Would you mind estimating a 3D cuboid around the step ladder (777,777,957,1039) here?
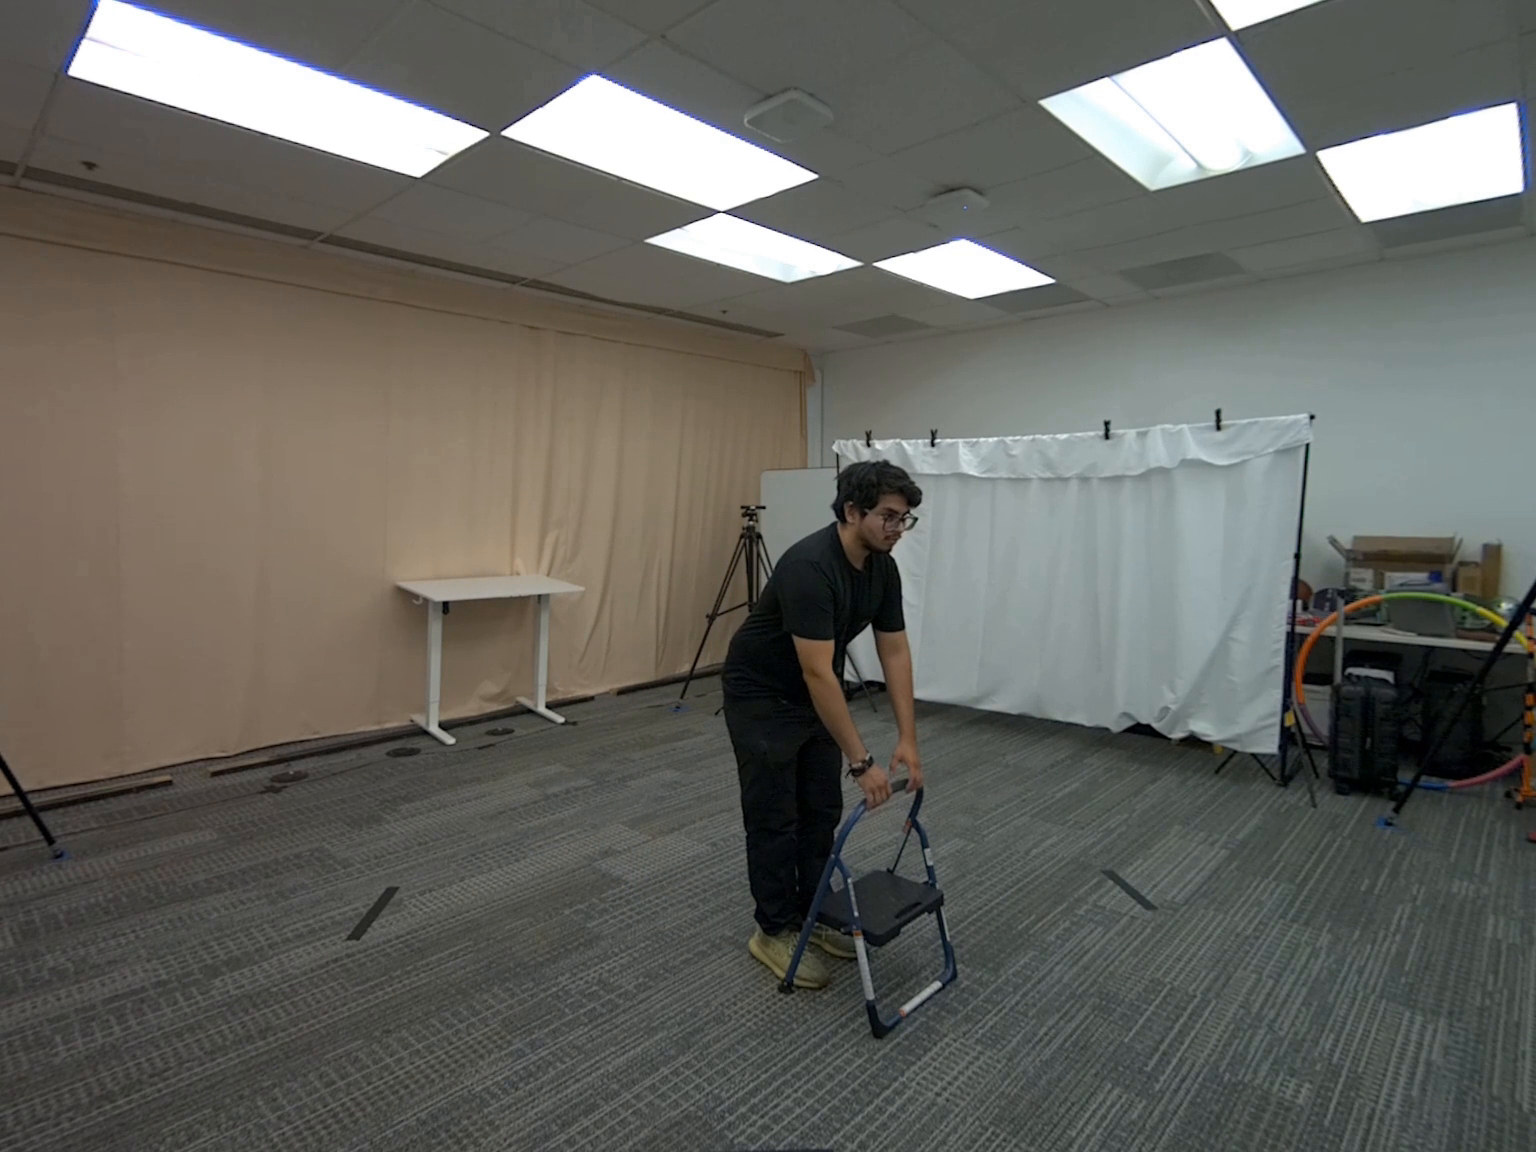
[{"bbox_3d":[0.303,0.888,2.433,0.361,0.604,0.417,3,5,42],"label":"step ladder"}]
